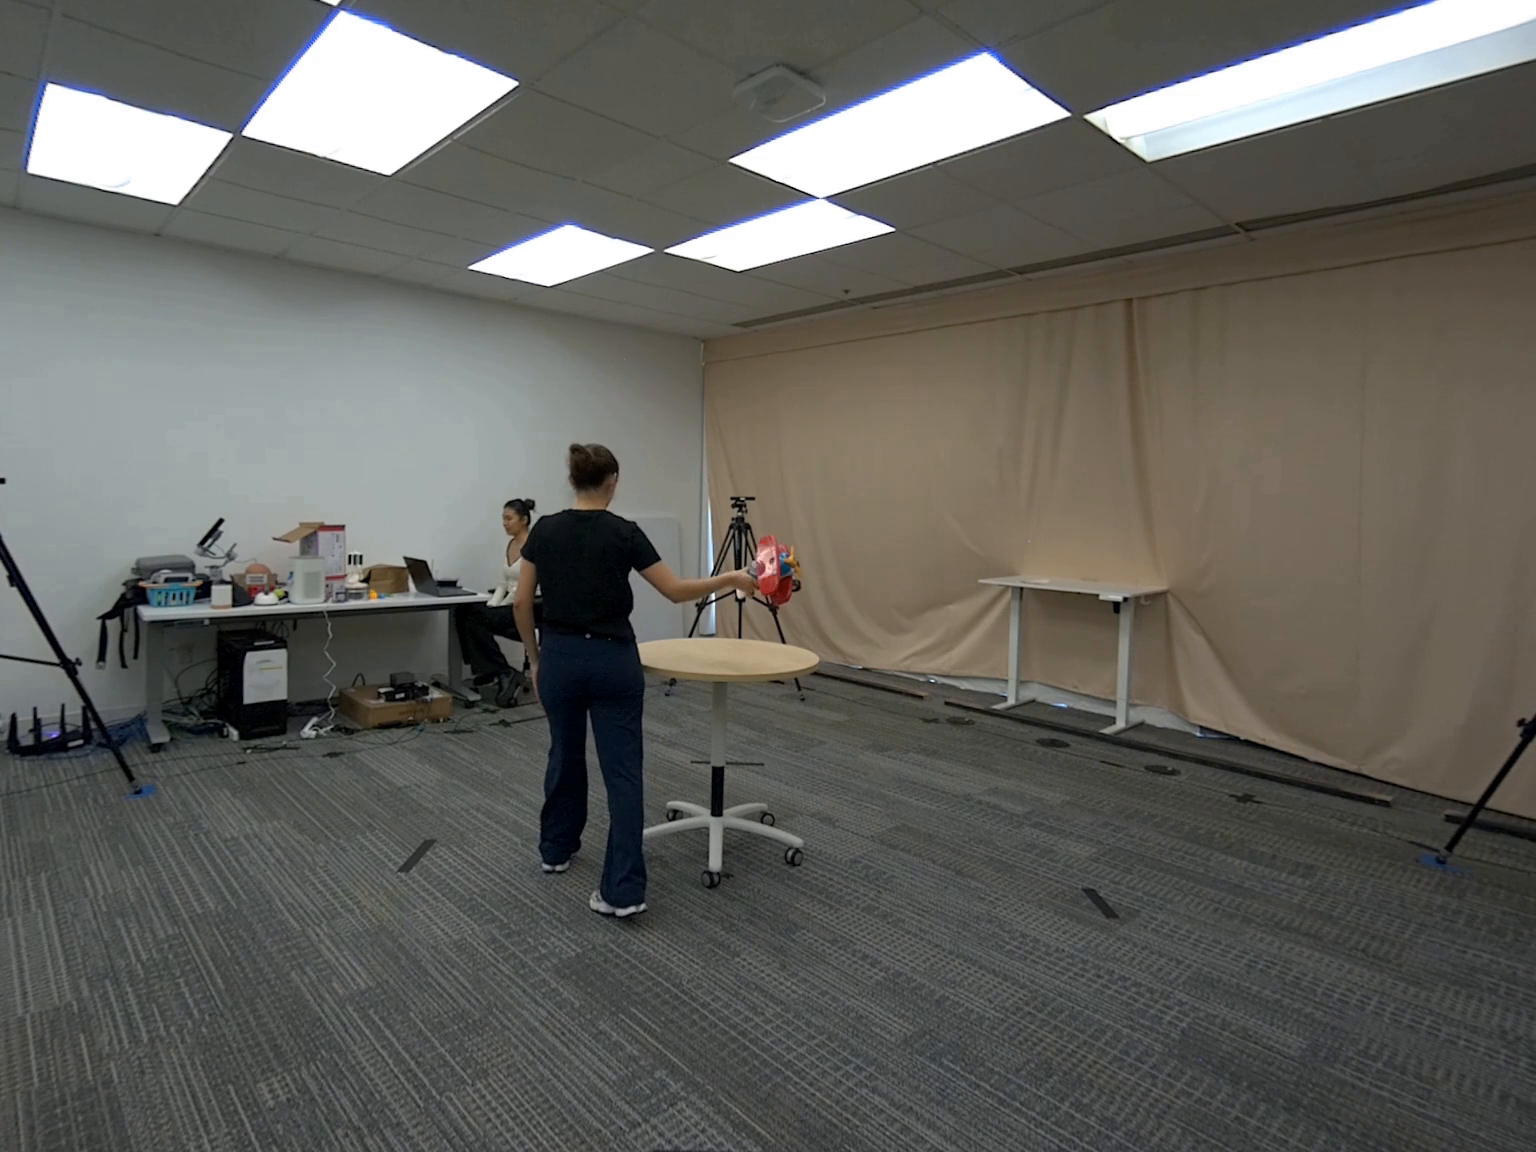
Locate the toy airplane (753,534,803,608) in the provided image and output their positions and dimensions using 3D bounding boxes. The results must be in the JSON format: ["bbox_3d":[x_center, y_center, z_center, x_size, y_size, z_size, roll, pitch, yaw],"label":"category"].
[{"bbox_3d":[-0.013,0.008,3.059,0.259,0.259,0.151,53,0,40],"label":"toy airplane"}]
